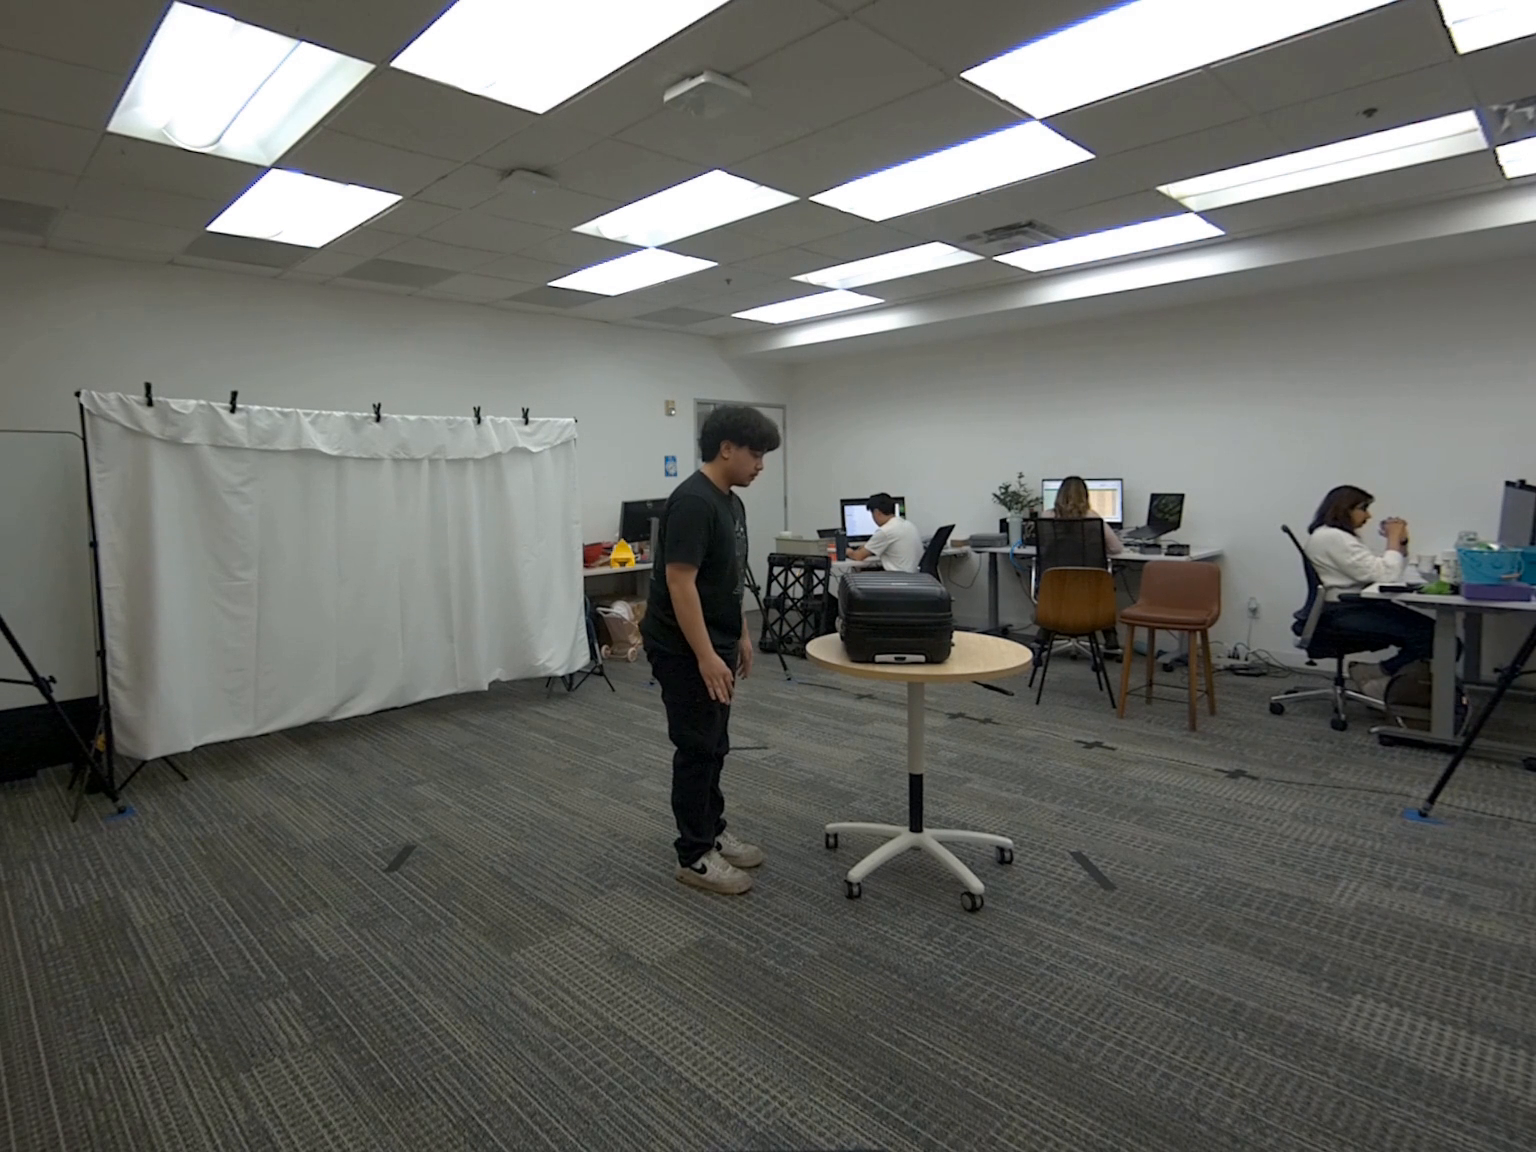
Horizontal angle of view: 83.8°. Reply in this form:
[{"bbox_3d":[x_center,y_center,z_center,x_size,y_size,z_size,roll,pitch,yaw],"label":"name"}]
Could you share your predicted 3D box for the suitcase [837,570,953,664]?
[{"bbox_3d":[0.429,0.138,2.974,0.377,0.247,0.550,1,8,3],"label":"suitcase"}]
